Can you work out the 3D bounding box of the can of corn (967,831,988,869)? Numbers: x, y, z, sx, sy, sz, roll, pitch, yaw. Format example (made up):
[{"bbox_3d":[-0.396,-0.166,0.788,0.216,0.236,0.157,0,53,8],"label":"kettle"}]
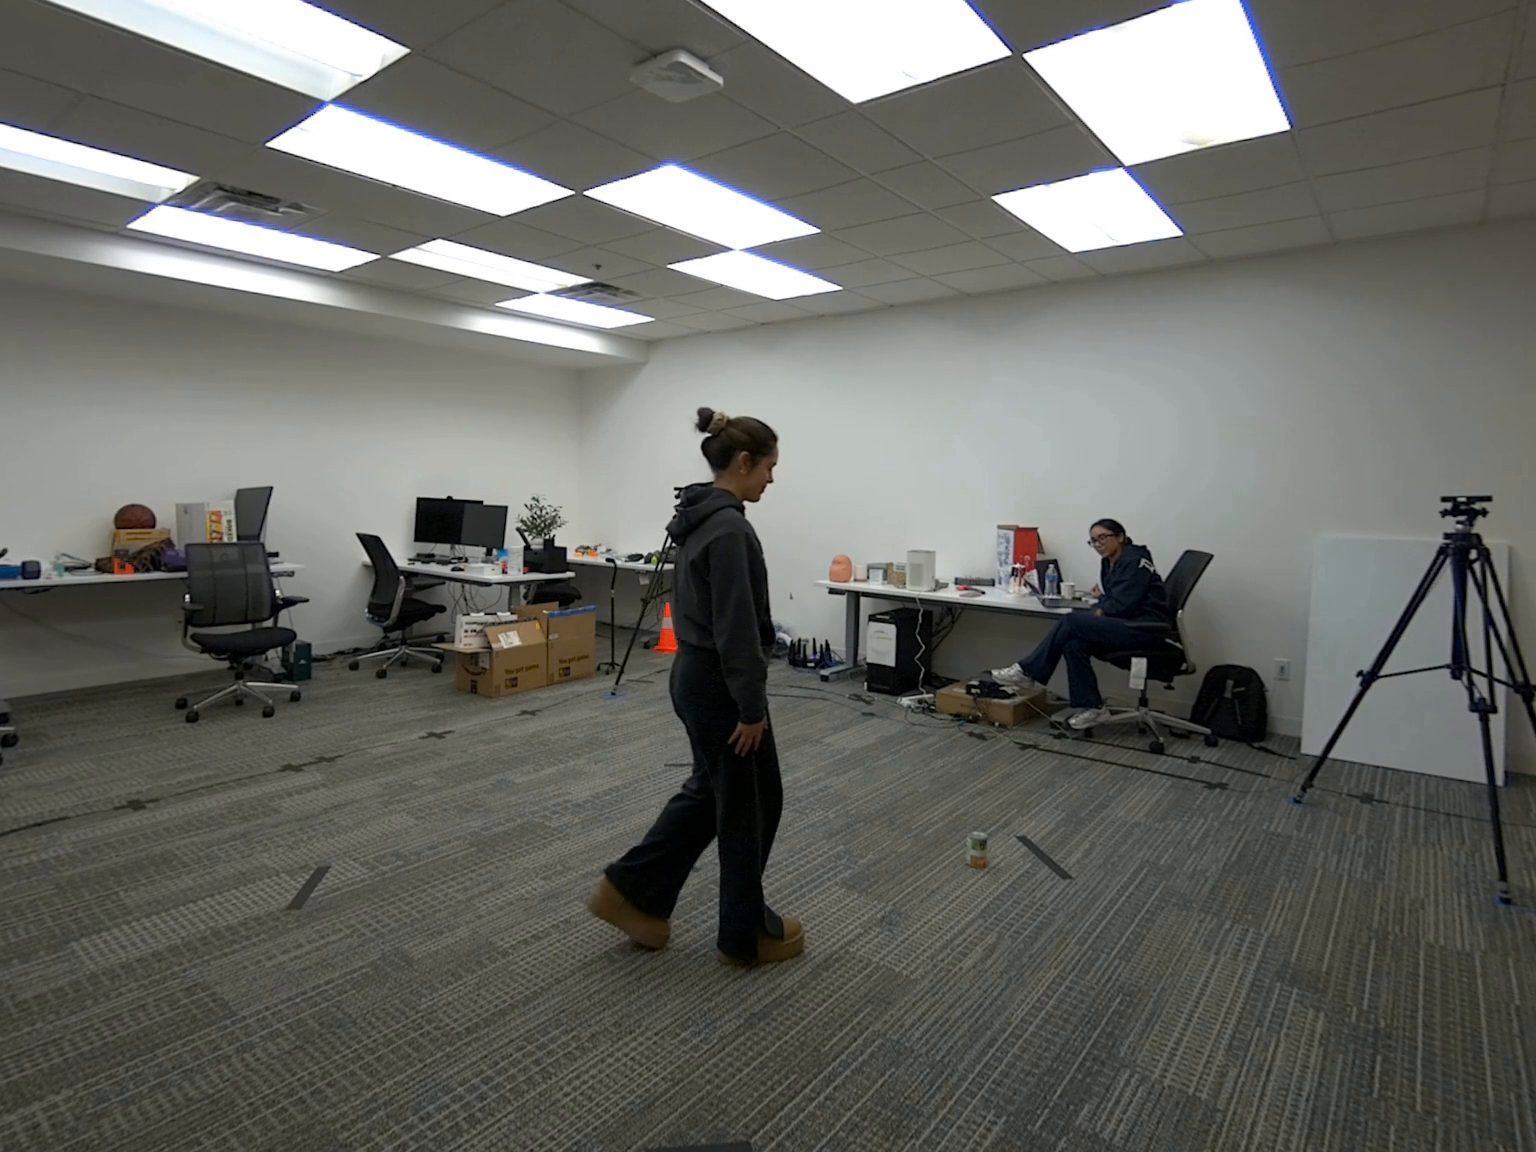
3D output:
[{"bbox_3d":[0.790,1.025,3.196,0.074,0.111,0.074,-1,3,-2],"label":"can of corn"}]
